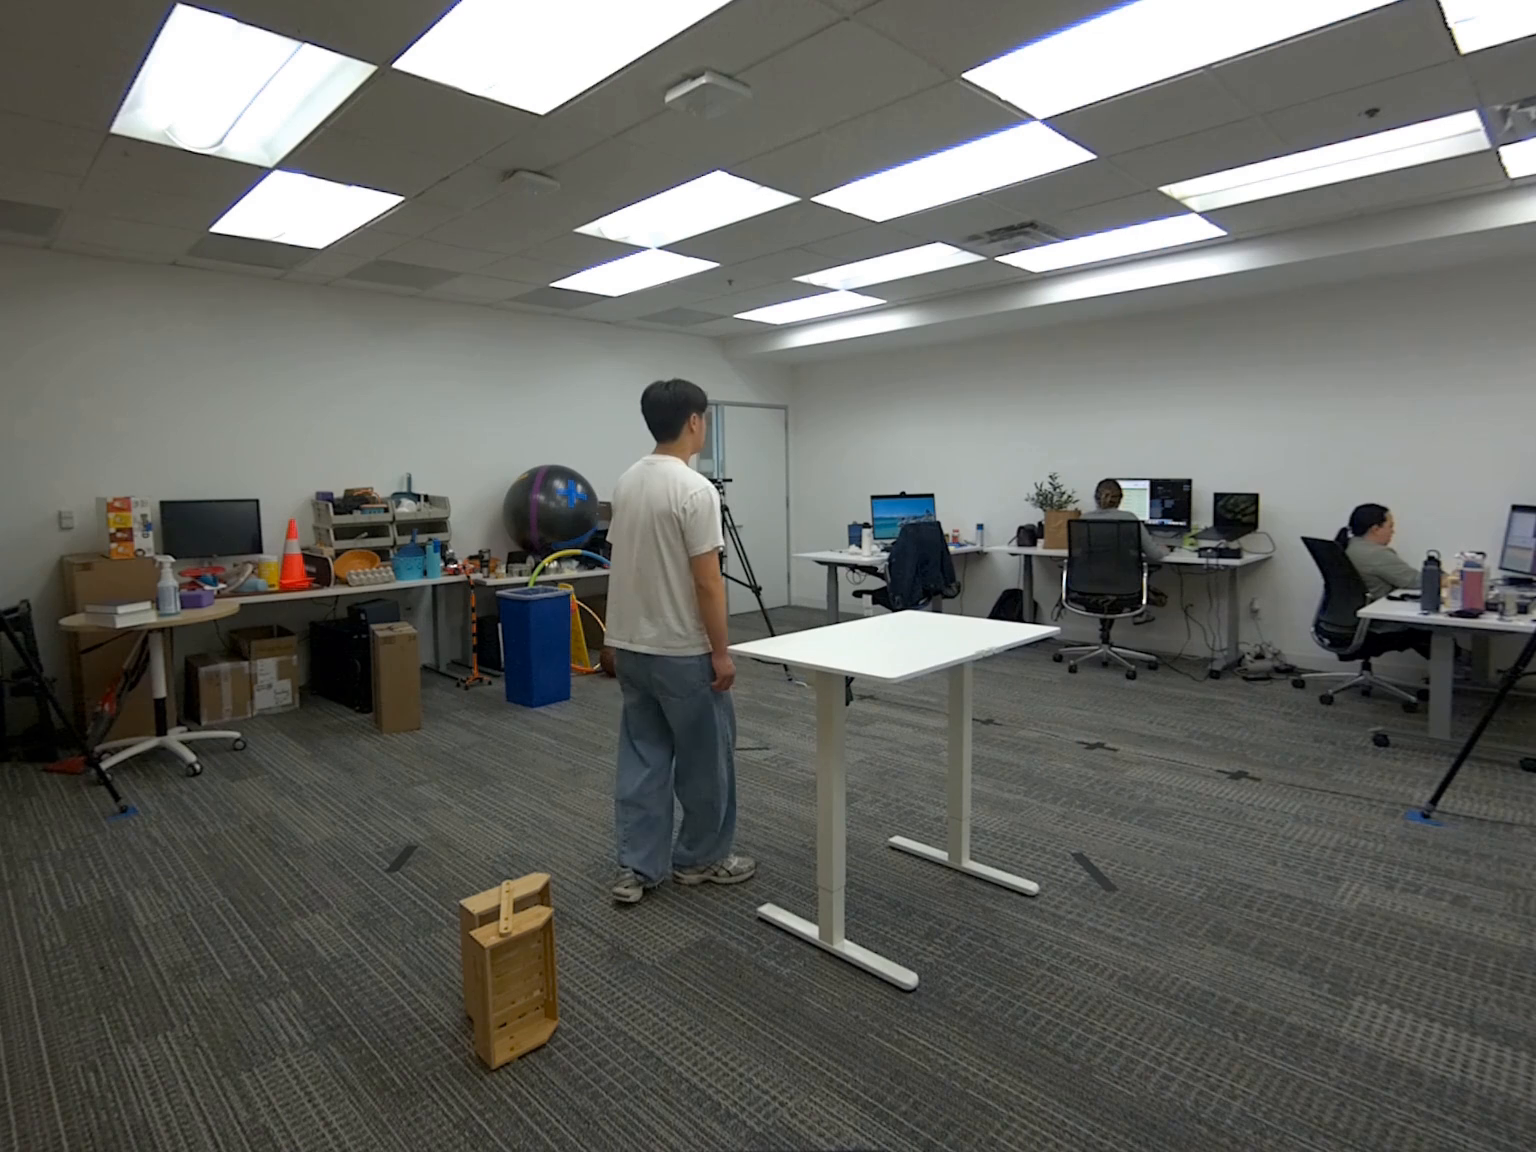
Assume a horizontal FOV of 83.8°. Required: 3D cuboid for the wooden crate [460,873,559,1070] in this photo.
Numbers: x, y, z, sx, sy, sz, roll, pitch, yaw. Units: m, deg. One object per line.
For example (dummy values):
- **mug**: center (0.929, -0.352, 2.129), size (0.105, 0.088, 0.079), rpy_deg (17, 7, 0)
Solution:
- **wooden crate**: center (-0.636, 1.002, 2.200), size (0.294, 0.323, 0.281), rpy_deg (-7, 7, -43)
